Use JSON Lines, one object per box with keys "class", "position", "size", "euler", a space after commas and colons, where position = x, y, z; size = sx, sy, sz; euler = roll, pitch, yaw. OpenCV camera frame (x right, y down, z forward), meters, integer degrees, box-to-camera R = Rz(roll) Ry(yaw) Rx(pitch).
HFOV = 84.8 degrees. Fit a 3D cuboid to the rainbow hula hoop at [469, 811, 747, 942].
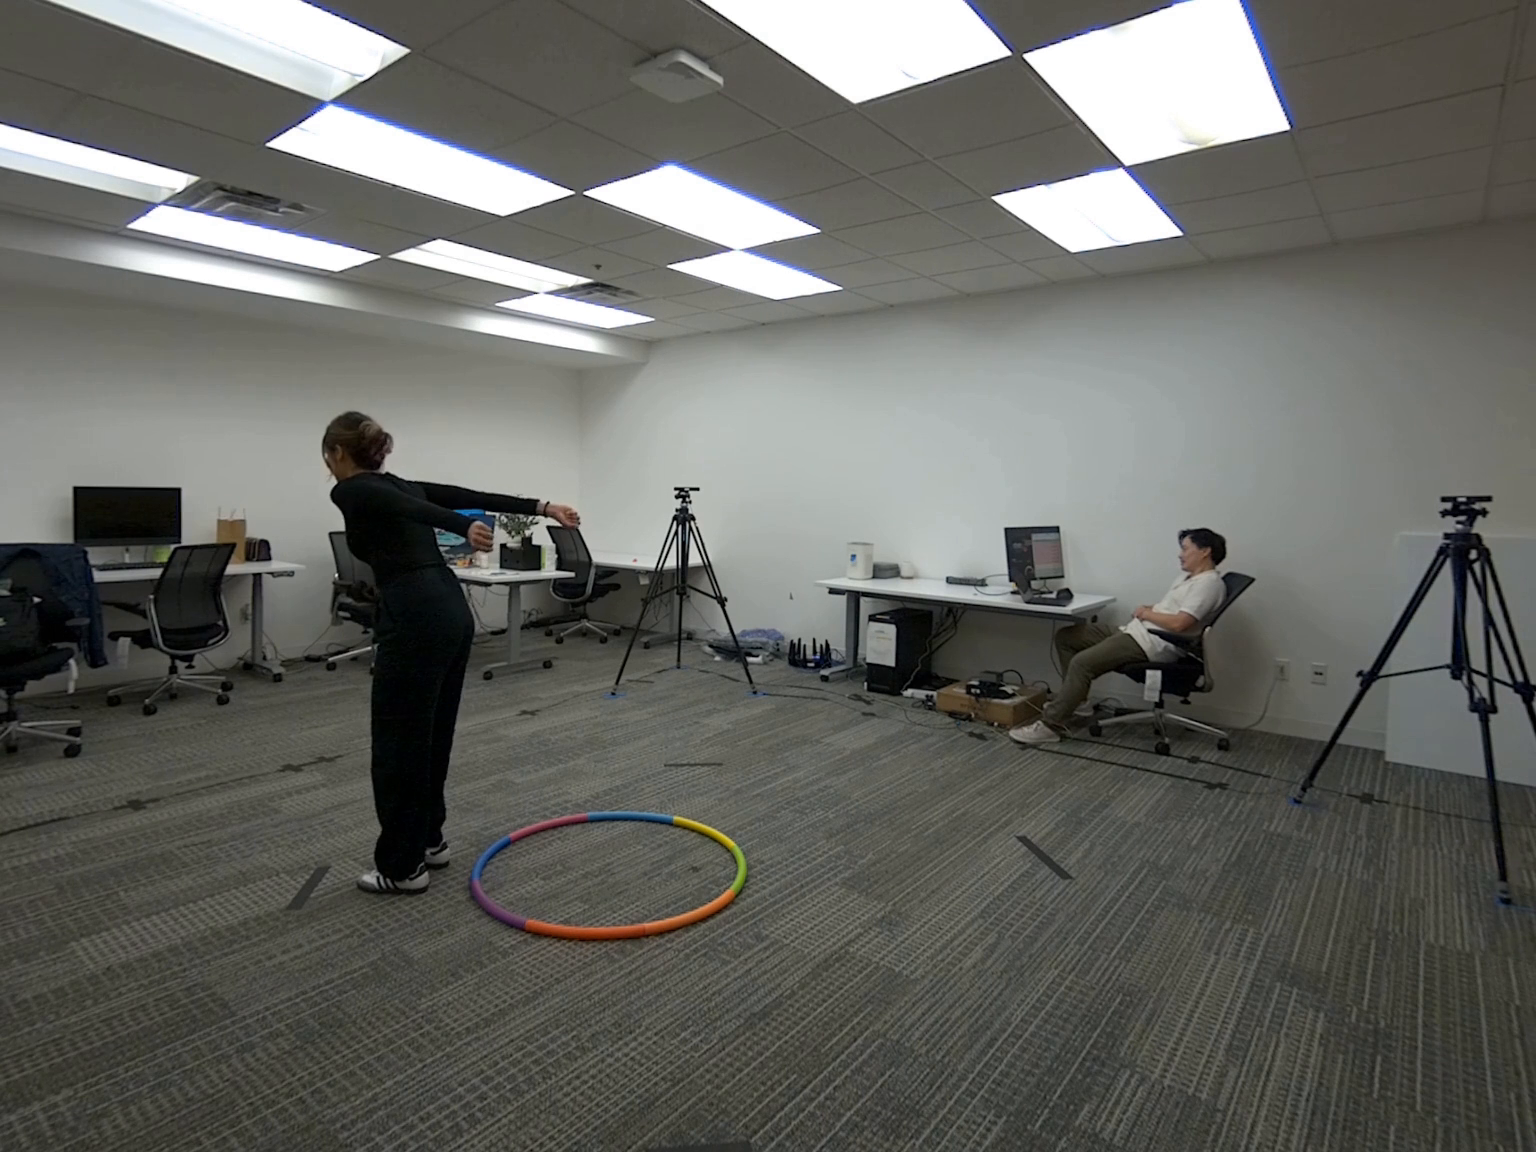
{"class": "rainbow hula hoop", "position": [-0.575, 1.034, 3.083], "size": [0.978, 0.035, 0.983], "euler": [1, 5, -2]}
